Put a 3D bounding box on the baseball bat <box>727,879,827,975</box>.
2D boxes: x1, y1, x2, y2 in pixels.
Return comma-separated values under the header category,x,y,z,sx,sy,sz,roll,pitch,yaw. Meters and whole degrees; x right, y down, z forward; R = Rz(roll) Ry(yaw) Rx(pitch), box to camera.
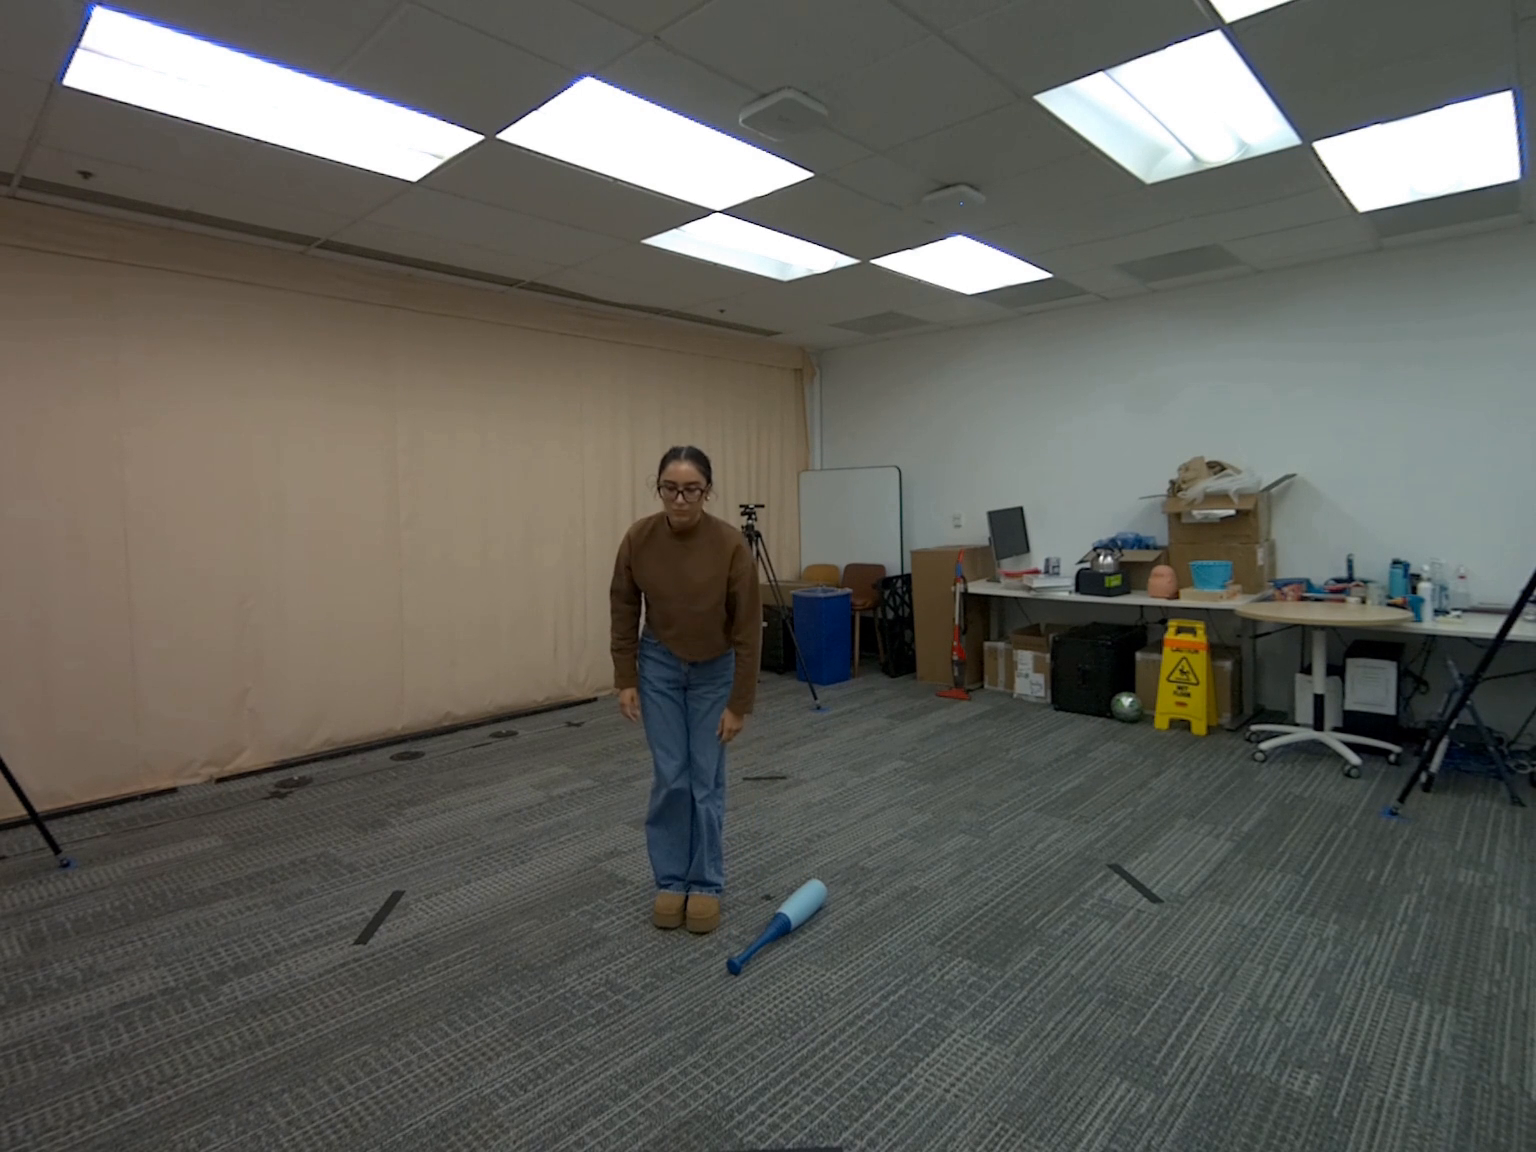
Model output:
category,x,y,z,sx,sy,sz,roll,pitch,yaw
baseball bat,0.042,1.128,2.706,0.092,0.088,0.529,2,9,32
